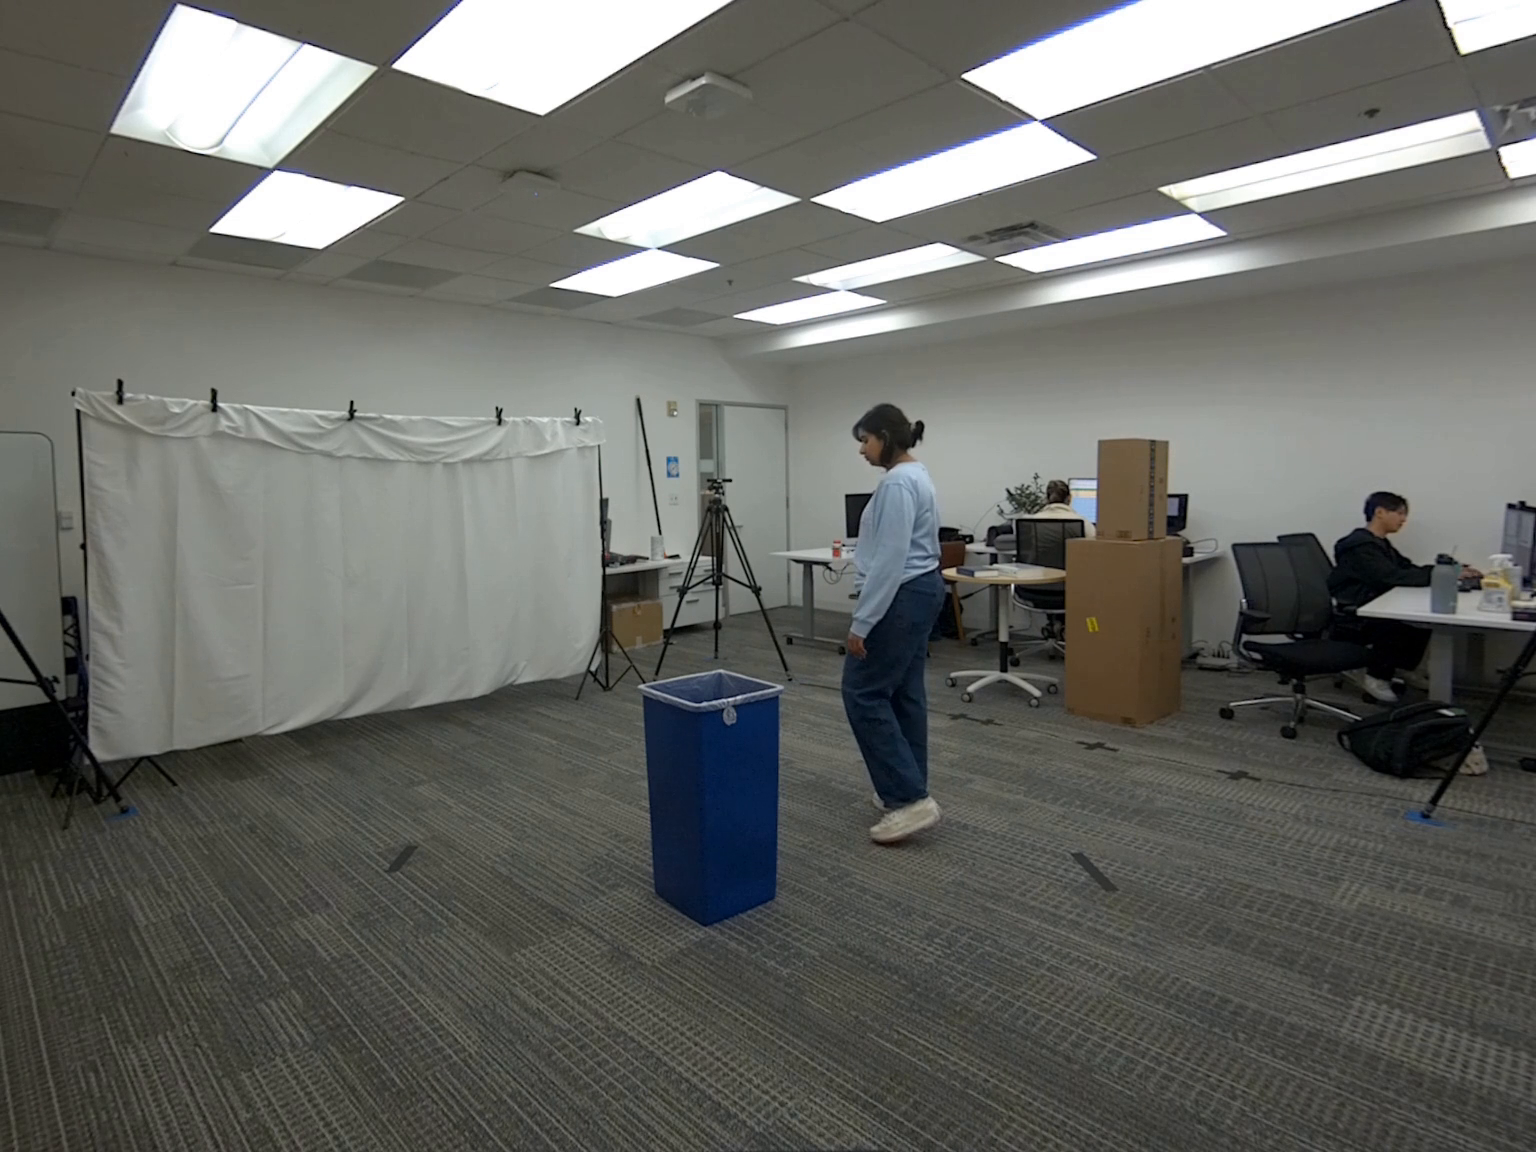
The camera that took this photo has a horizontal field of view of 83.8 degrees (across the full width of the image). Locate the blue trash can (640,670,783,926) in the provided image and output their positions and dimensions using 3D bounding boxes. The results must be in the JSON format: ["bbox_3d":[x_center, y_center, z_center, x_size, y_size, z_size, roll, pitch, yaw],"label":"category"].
[{"bbox_3d":[-0.186,0.718,2.857,0.368,0.711,0.385,-4,5,-38],"label":"blue trash can"}]
